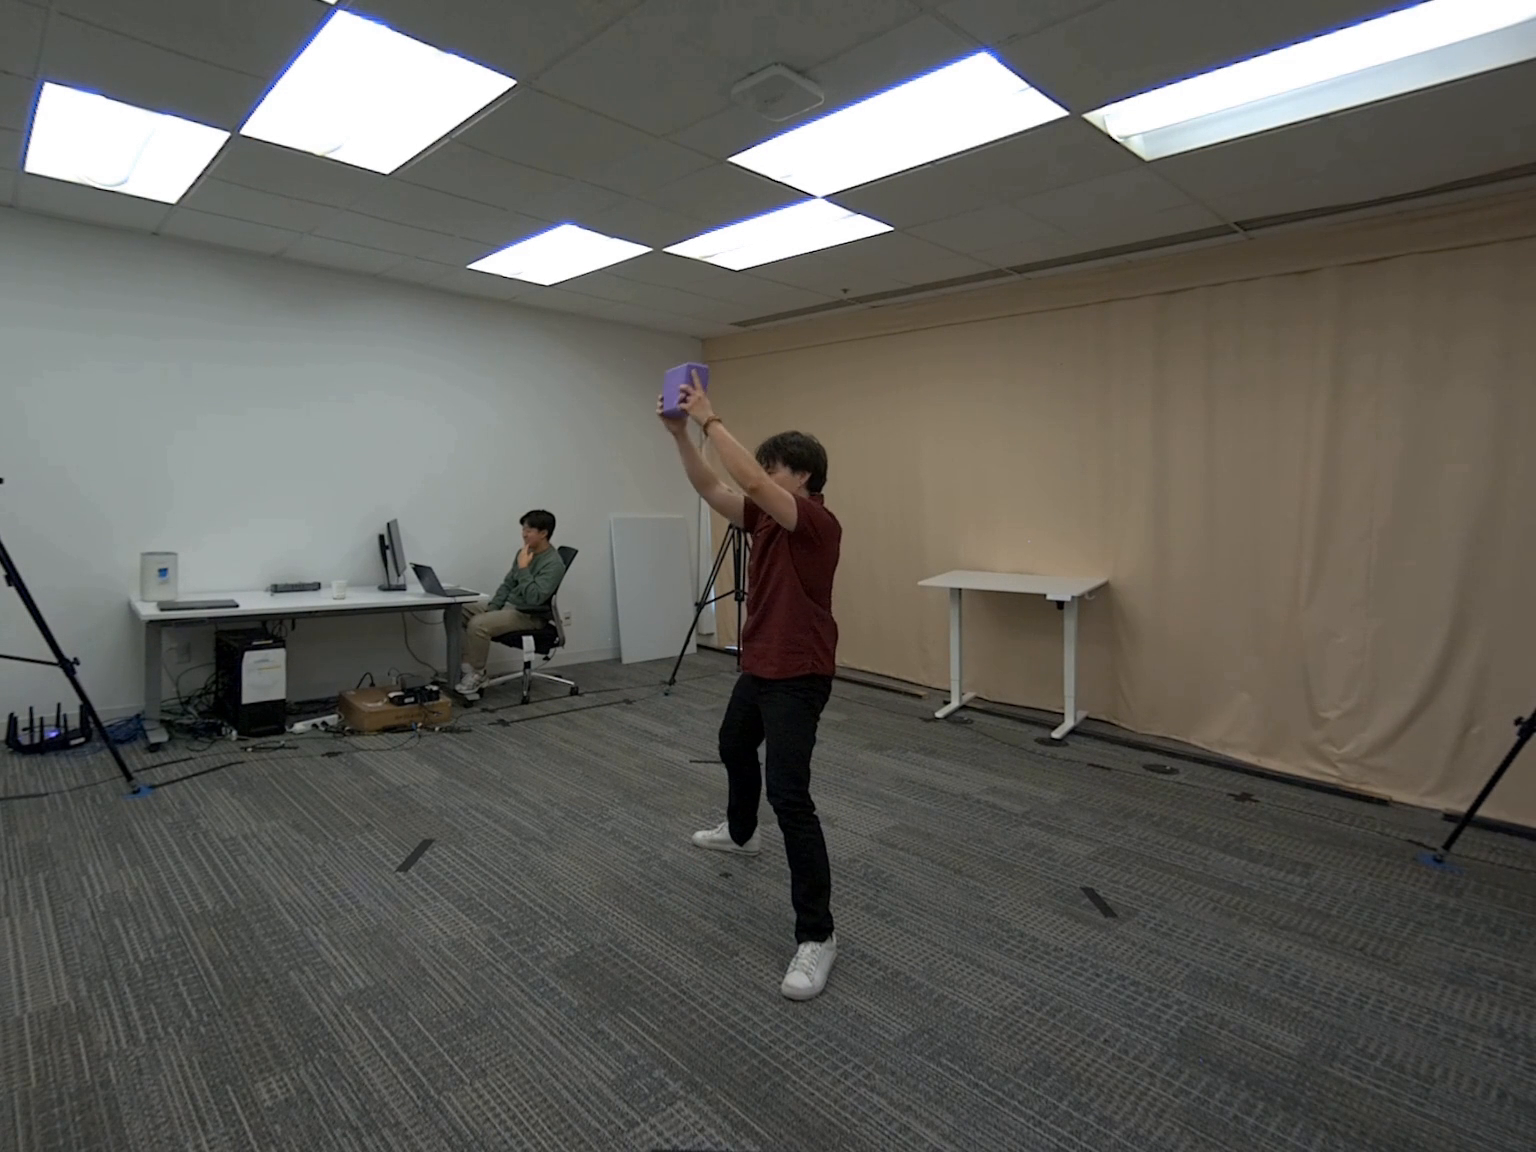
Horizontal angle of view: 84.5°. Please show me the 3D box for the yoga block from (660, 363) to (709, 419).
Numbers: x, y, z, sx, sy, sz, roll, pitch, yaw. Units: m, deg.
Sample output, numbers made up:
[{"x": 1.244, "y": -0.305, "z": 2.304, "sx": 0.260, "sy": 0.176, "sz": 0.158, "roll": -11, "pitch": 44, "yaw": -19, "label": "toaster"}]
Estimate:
[{"x": -0.281, "y": -0.584, "z": 2.713, "sx": 0.075, "sy": 0.149, "sz": 0.234, "roll": 8, "pitch": 2, "yaw": -24, "label": "yoga block"}]
